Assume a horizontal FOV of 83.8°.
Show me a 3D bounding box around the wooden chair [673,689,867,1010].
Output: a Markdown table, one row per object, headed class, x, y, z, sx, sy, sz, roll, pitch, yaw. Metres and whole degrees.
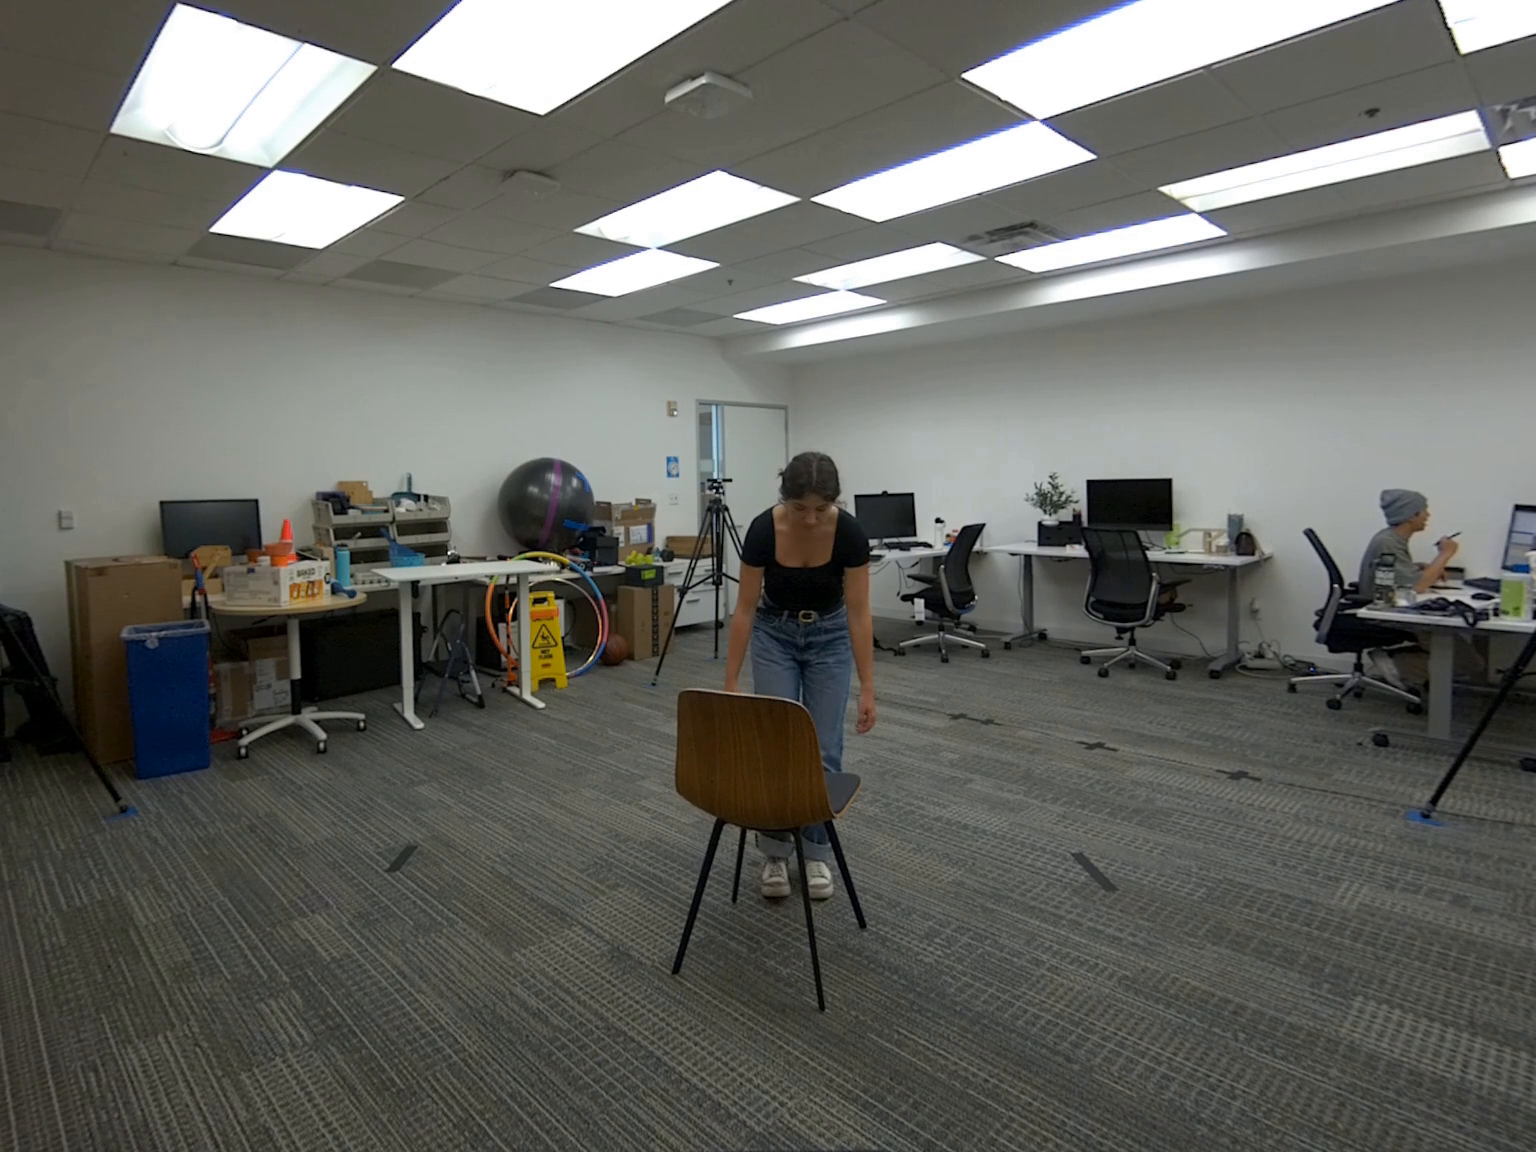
| class | x | y | z | sx | sy | sz | roll | pitch | yaw |
| --- | --- | --- | --- | --- | --- | --- | --- | --- | --- |
| wooden chair | 0.011 | 0.688 | 2.511 | 0.488 | 0.871 | 0.516 | 1 | 9 | 23 |
